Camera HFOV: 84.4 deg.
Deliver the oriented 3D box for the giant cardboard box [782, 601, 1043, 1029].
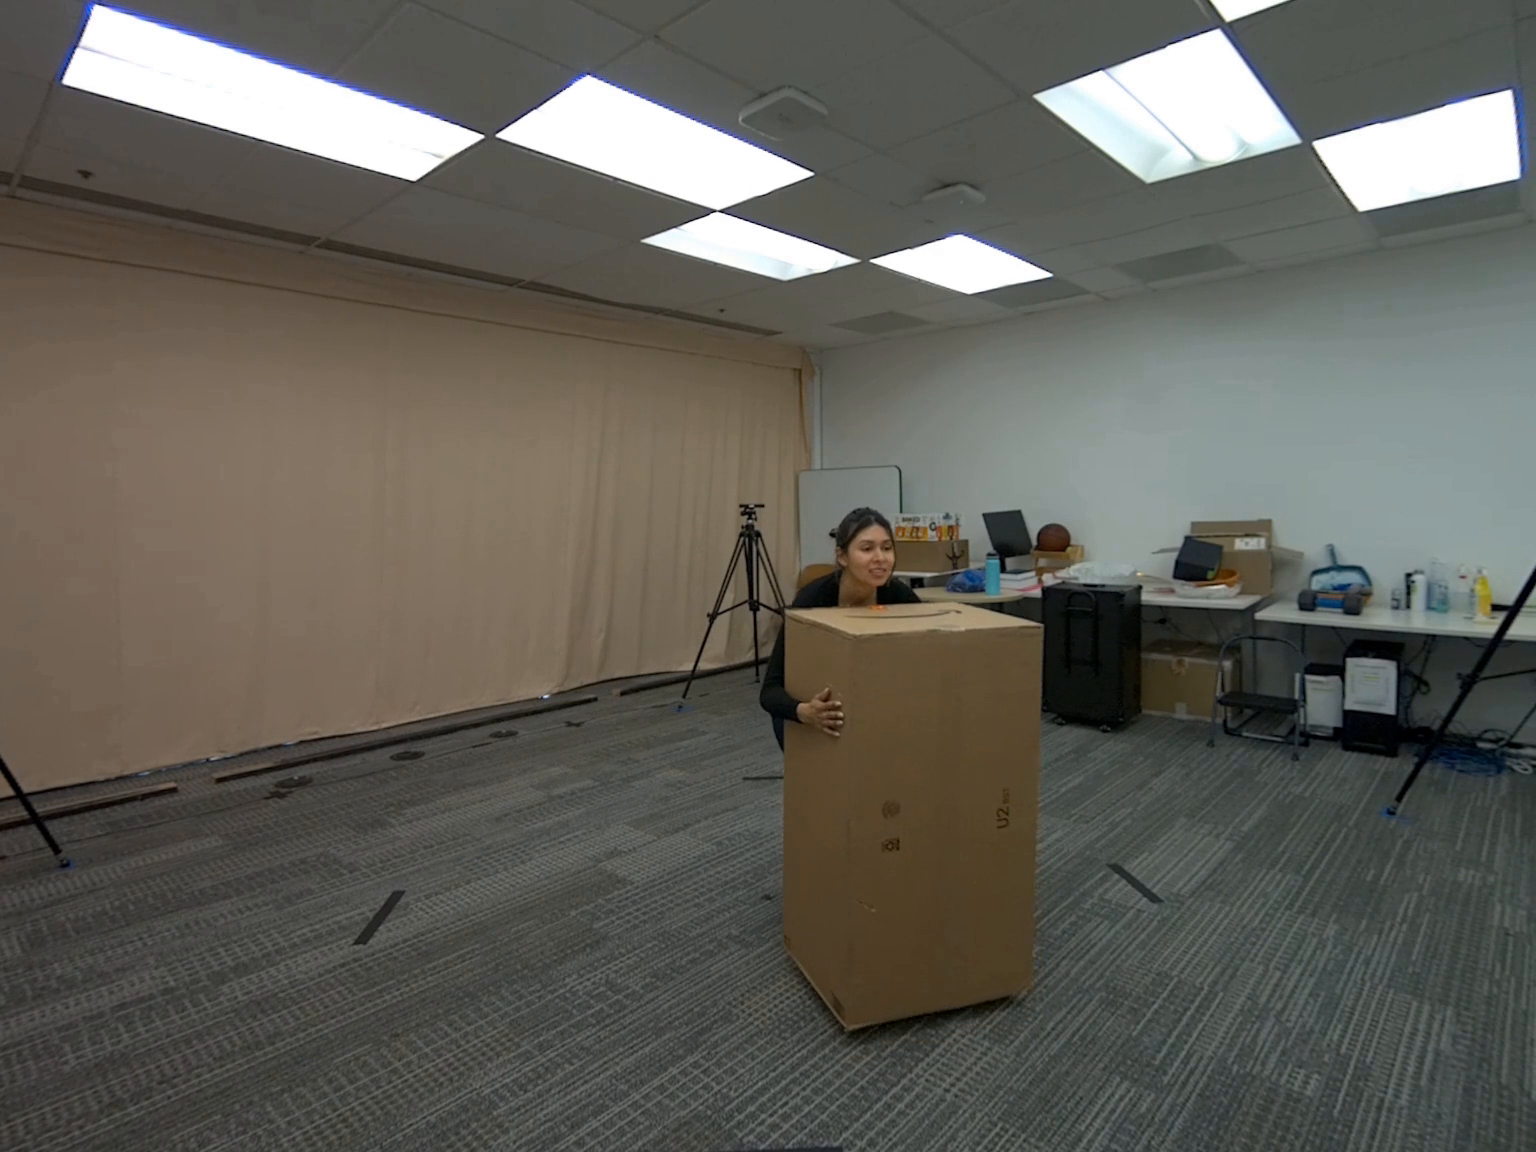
[{"bbox_3d":[0.393,0.624,2.388,0.566,1.022,0.436,-1,5,-20],"label":"giant cardboard box"}]
